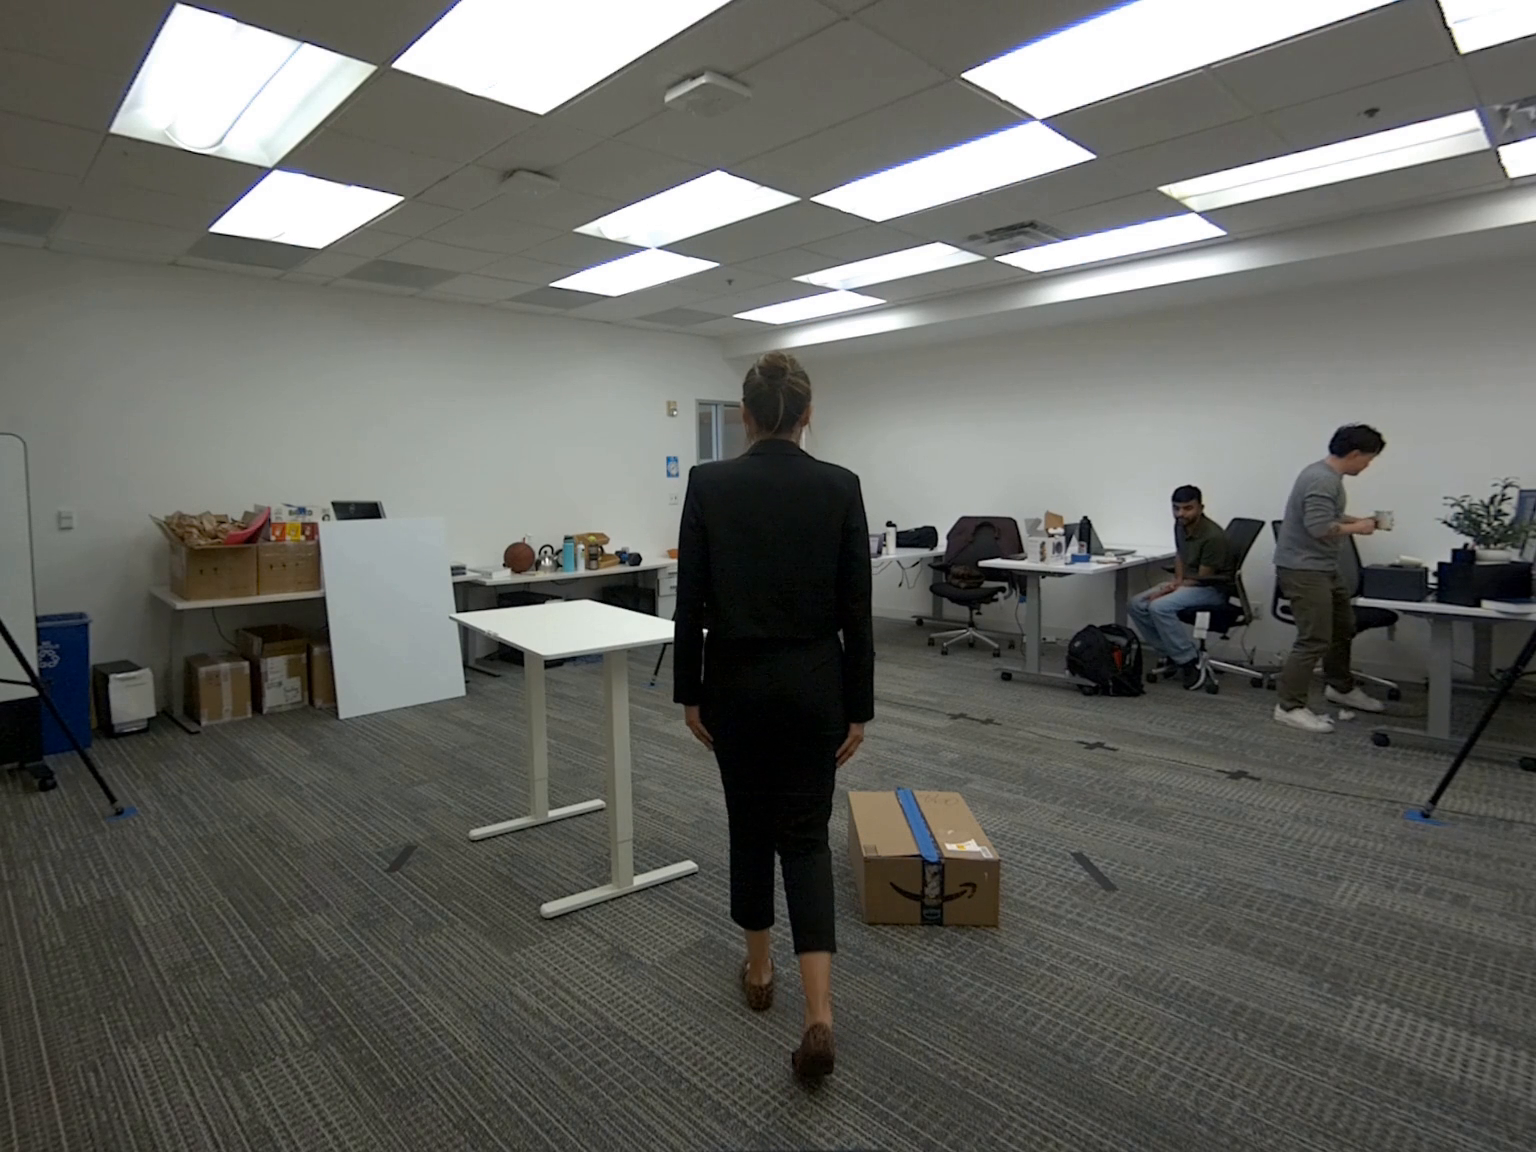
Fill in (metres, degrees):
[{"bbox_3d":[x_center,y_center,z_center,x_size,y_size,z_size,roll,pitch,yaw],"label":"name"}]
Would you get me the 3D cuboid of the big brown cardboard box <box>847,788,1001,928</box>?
[{"bbox_3d":[0.511,0.944,2.921,0.418,0.232,0.590,-1,5,0],"label":"big brown cardboard box"}]
